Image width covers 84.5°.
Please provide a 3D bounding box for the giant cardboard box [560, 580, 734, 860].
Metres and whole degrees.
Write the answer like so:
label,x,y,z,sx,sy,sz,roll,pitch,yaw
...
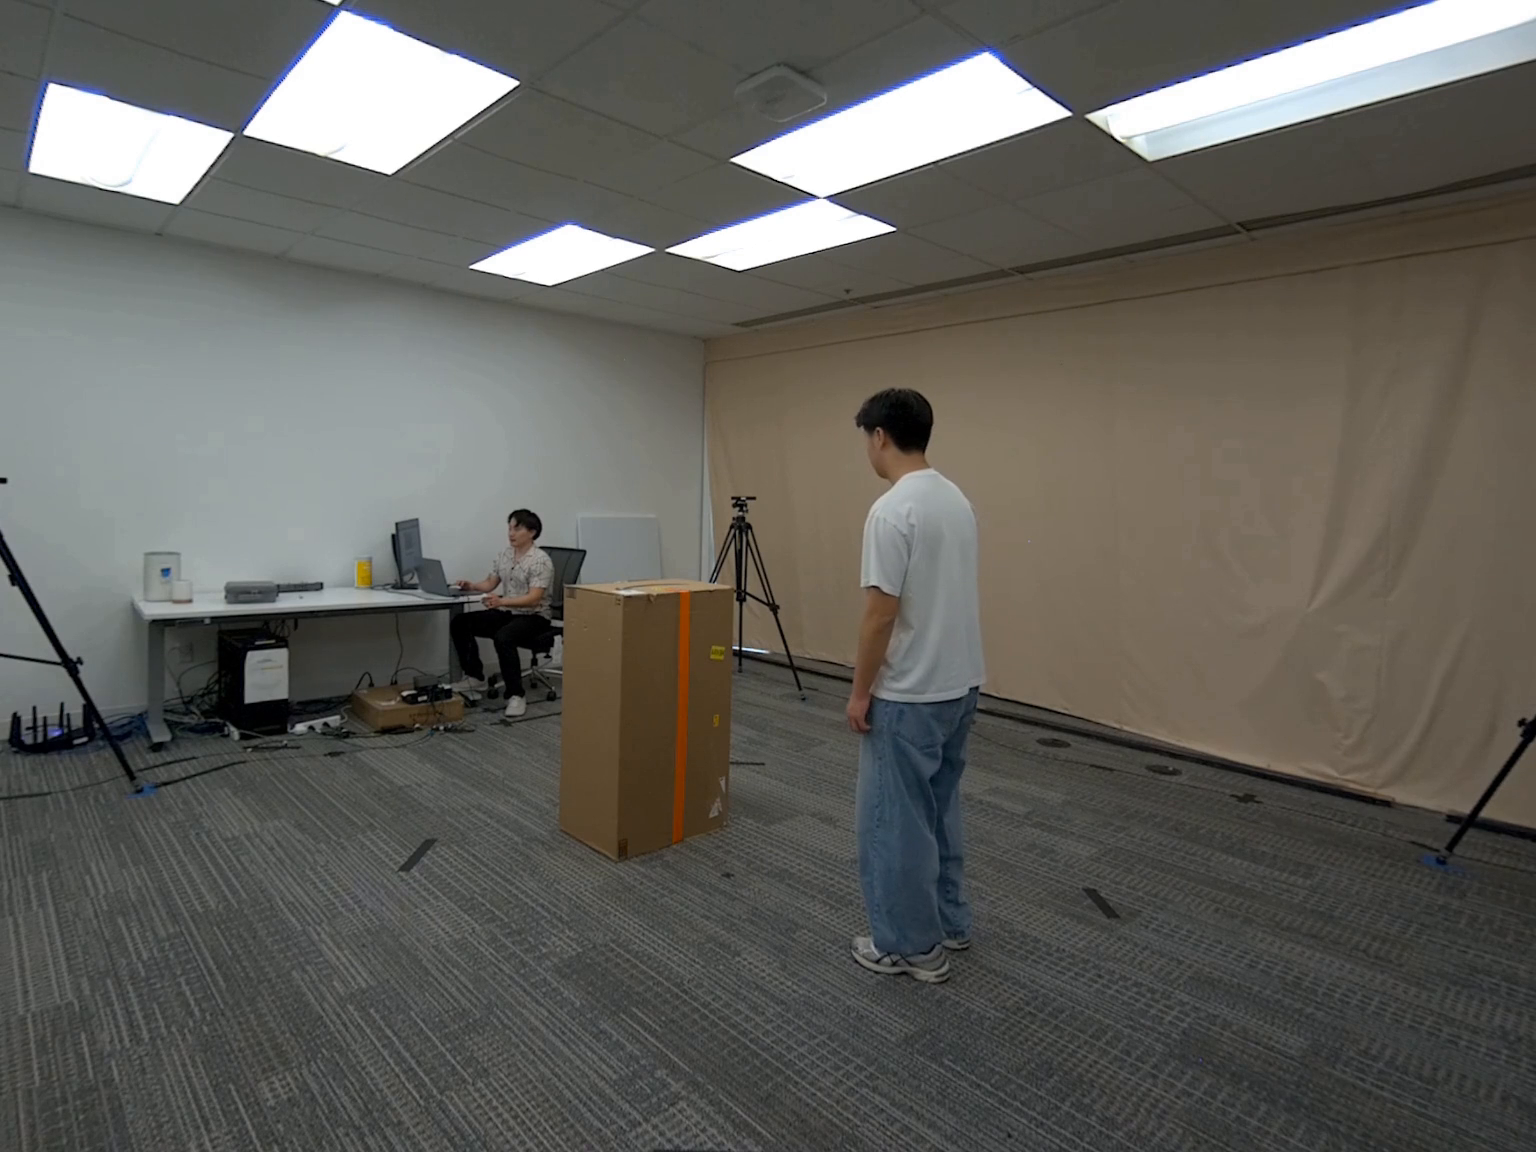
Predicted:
label,x,y,z,sx,sy,sz,roll,pitch,yaw
giant cardboard box,-0.510,0.554,3.512,0.564,1.023,0.437,-2,5,-44
